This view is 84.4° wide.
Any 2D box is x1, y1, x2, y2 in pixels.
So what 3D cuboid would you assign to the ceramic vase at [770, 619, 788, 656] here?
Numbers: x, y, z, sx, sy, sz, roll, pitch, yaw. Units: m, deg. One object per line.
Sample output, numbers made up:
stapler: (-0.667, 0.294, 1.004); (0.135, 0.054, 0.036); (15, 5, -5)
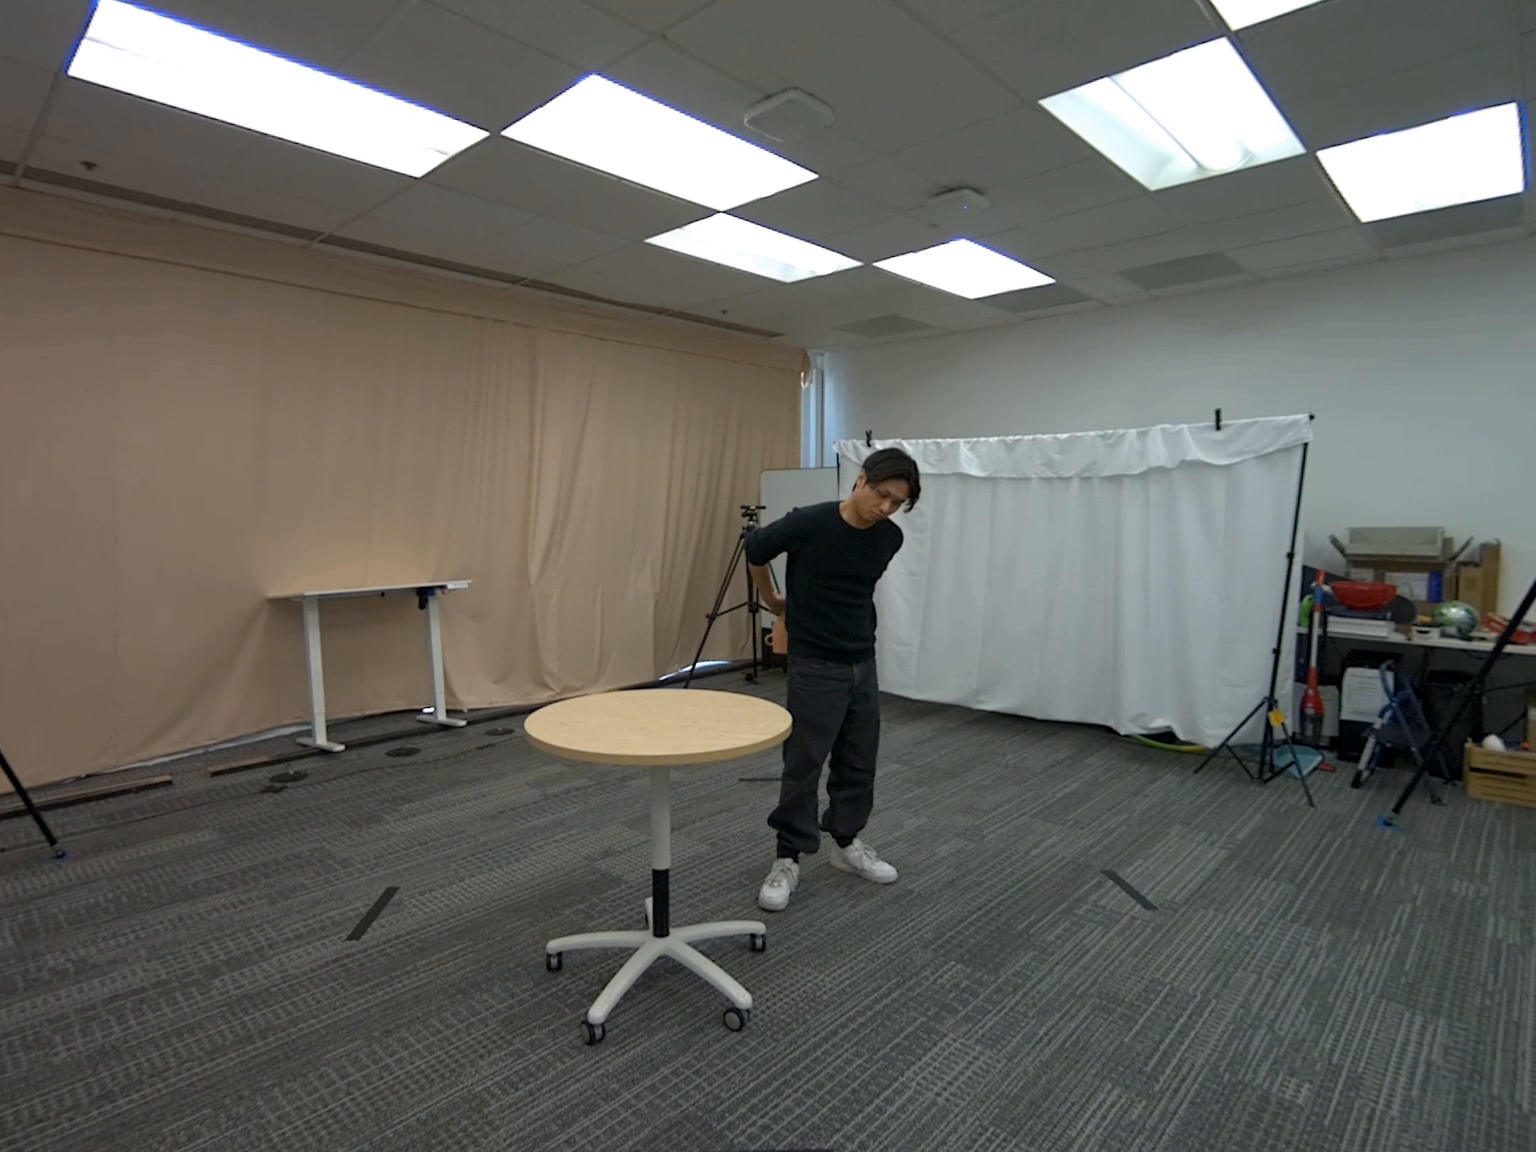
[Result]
ceramic vase: (0.097, 0.183, 3.334); (0.139, 0.220, 0.153); (2, -1, 42)
